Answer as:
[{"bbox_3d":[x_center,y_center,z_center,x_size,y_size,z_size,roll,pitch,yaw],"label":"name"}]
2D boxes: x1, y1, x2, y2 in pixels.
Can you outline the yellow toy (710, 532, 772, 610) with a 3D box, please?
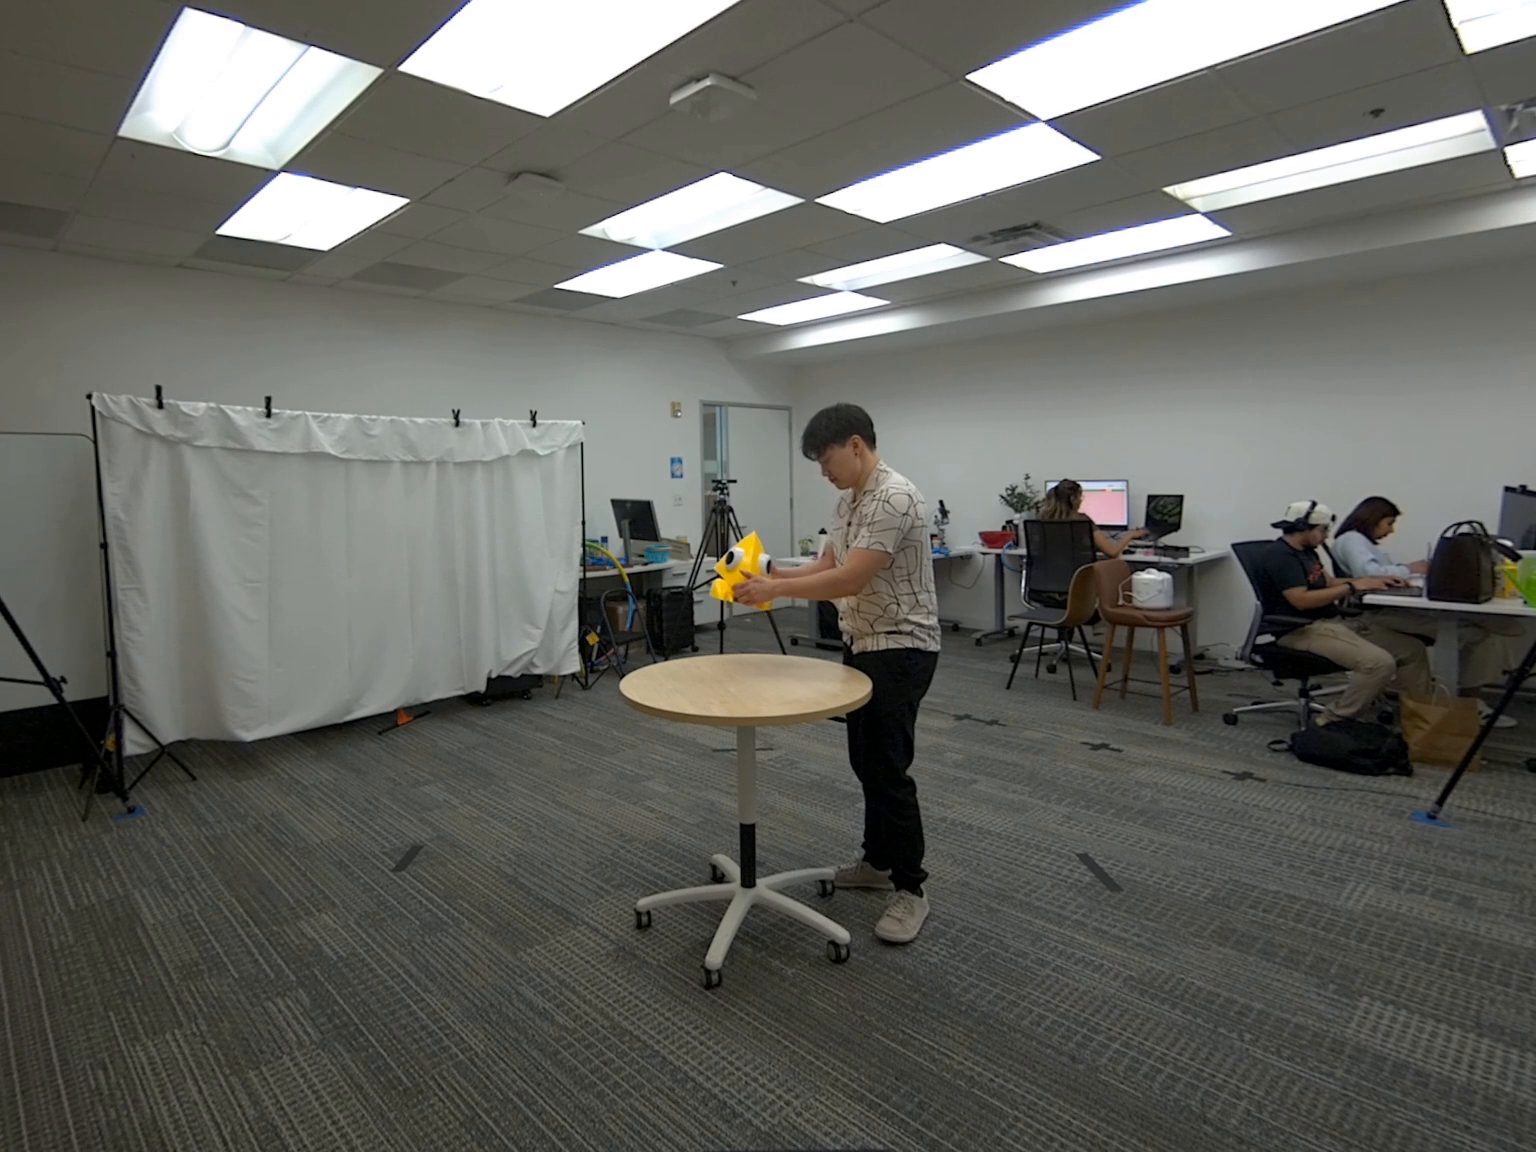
[{"bbox_3d":[-0.058,-0.028,2.736,0.203,0.231,0.194,14,0,-6],"label":"yellow toy"}]
